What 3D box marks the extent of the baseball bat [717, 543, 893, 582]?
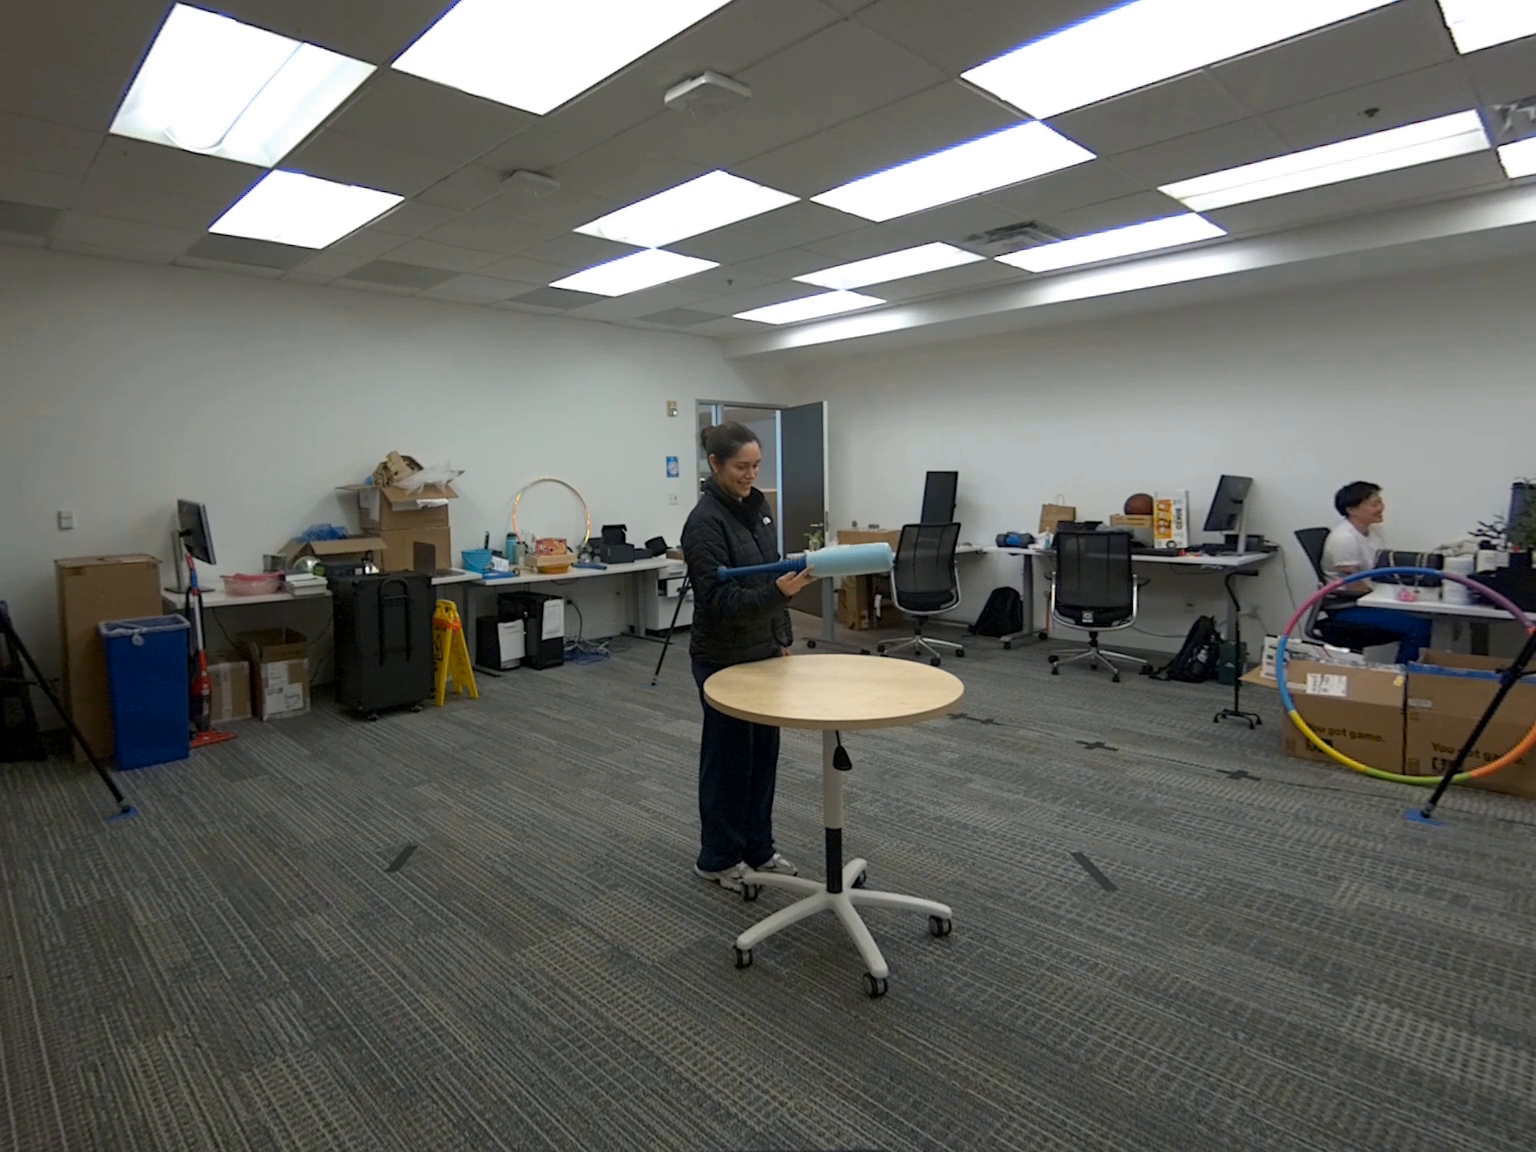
[{"bbox_3d":[0.113,-0.030,2.610,0.551,0.089,0.088,-6,3,17],"label":"baseball bat"}]
